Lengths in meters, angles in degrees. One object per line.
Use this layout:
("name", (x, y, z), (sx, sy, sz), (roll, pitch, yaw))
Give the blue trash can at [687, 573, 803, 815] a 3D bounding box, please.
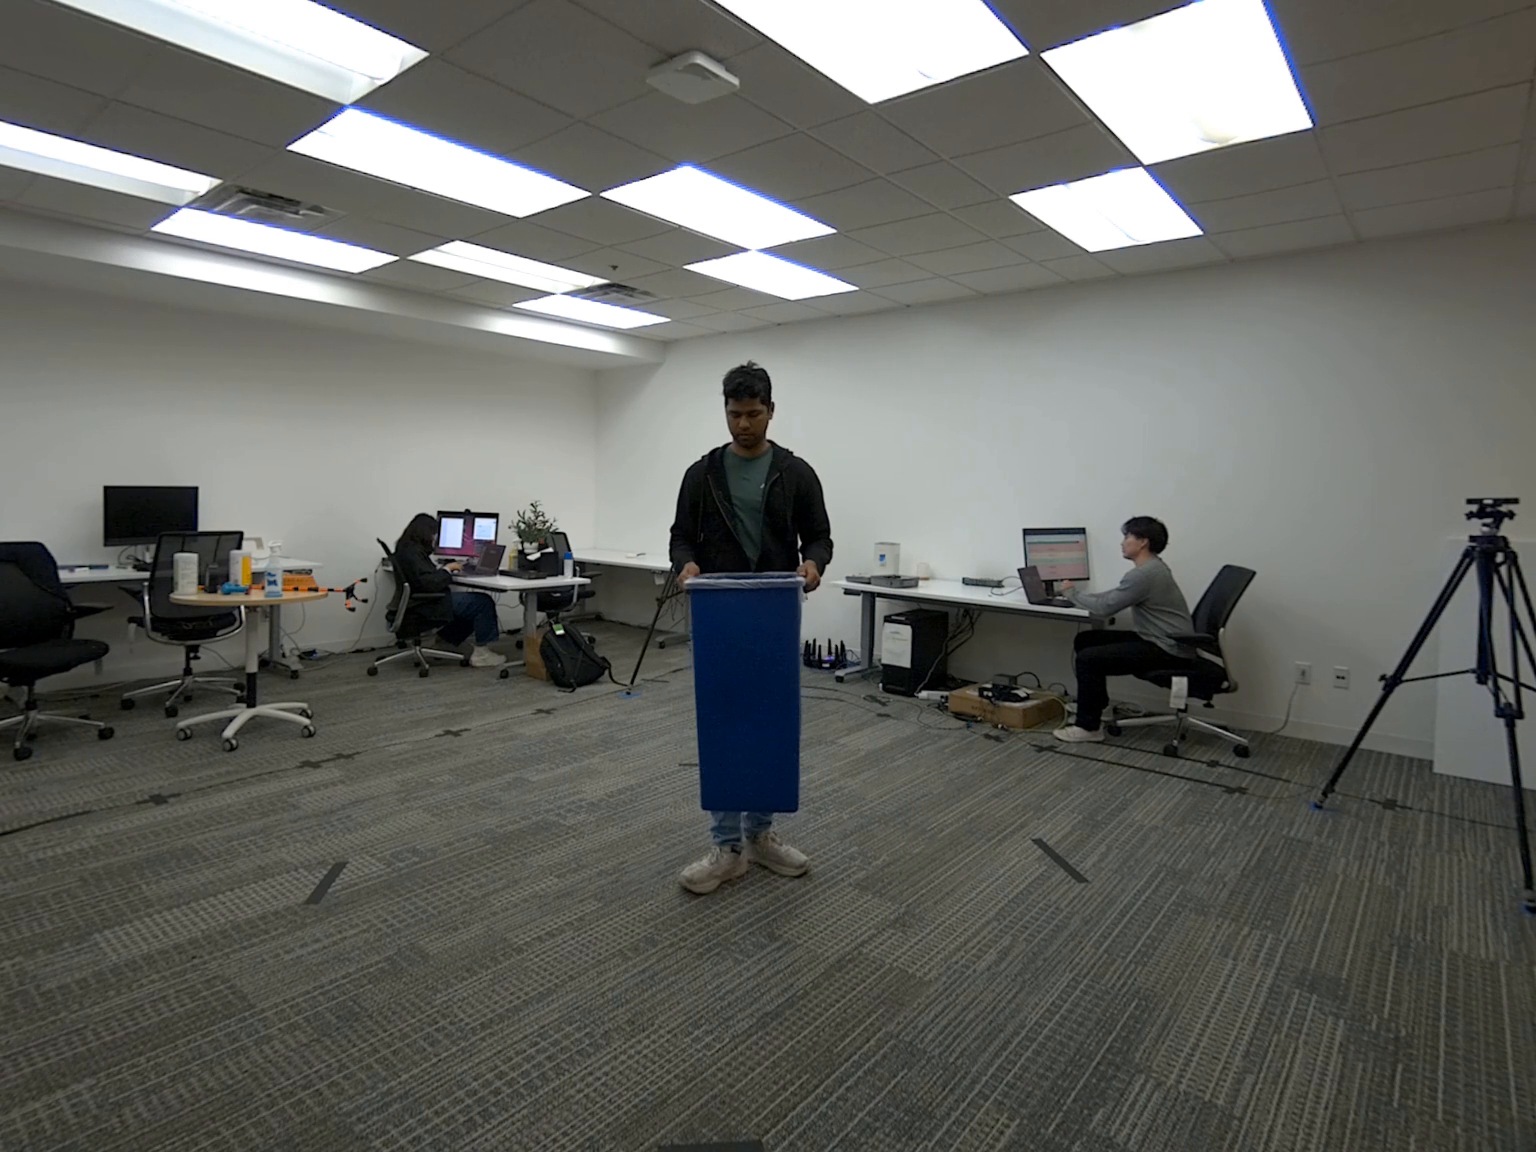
("blue trash can", (-0.073, 0.358, 2.748), (0.376, 0.714, 0.376), (-1, 0, 4))
